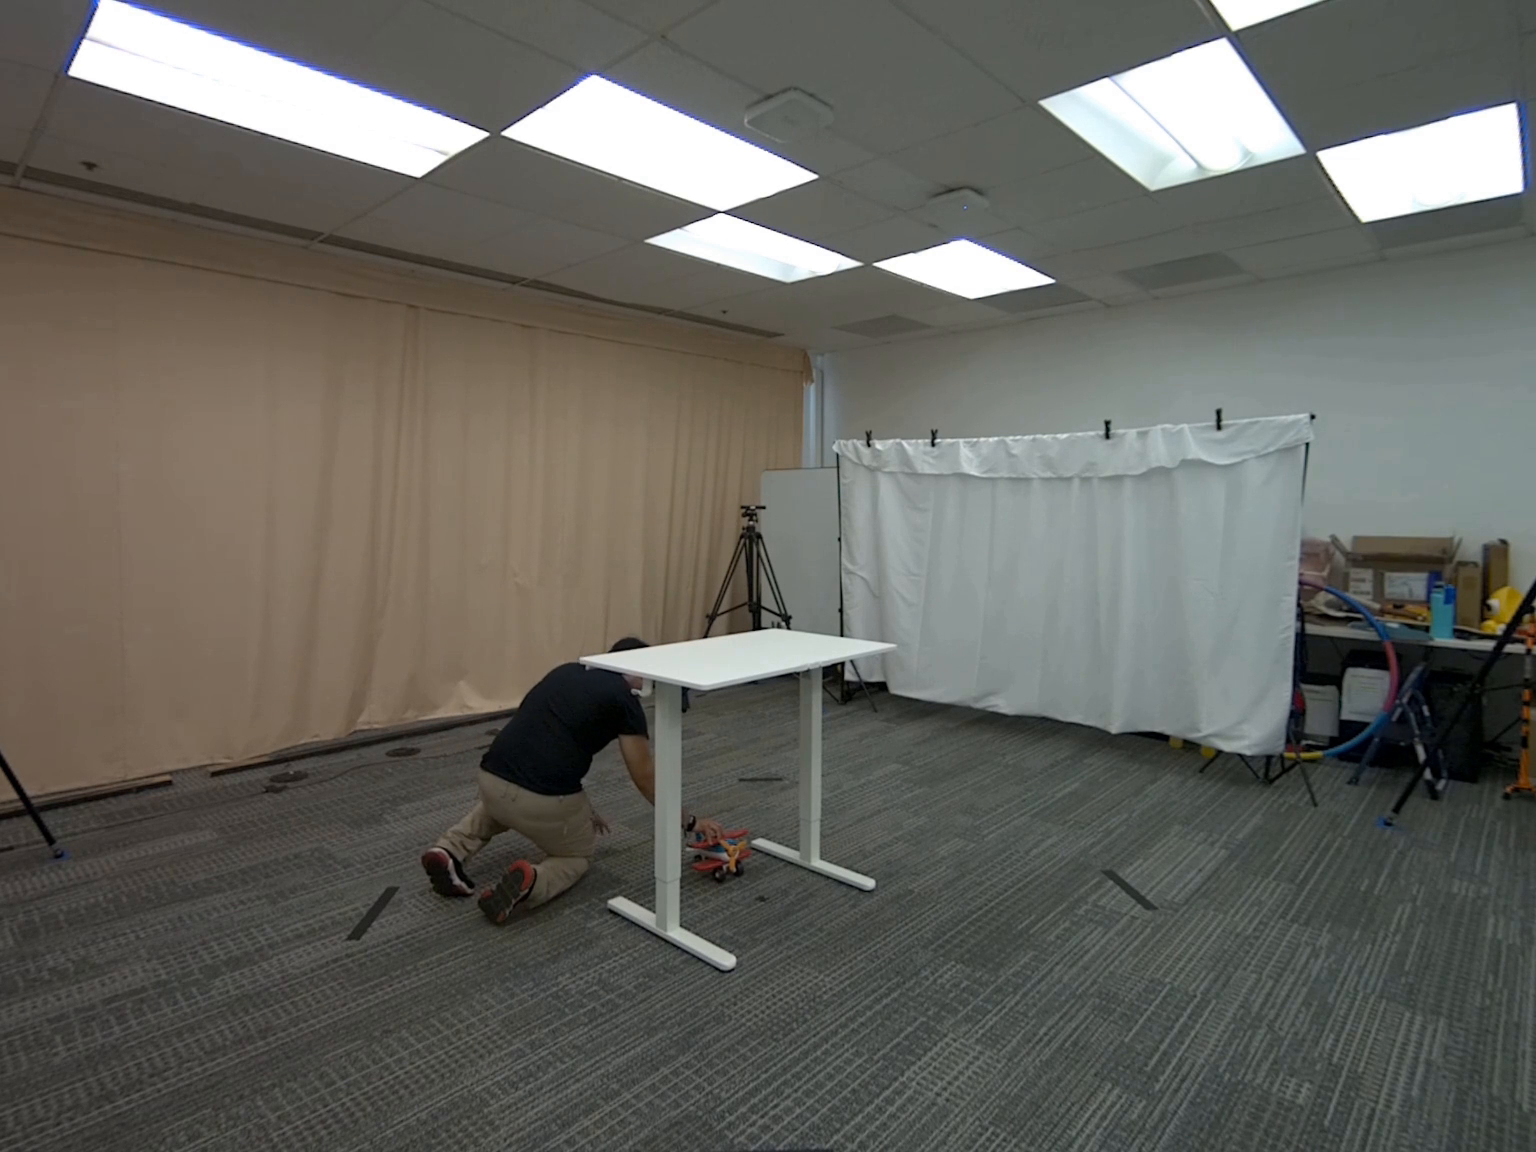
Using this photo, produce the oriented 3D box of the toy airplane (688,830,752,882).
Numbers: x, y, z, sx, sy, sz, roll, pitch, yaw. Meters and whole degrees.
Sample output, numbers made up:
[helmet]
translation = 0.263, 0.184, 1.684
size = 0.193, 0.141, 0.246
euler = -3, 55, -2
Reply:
[toy airplane]
translation = -0.211, 1.057, 3.196
size = 0.266, 0.156, 0.245
euler = 3, 6, 26
